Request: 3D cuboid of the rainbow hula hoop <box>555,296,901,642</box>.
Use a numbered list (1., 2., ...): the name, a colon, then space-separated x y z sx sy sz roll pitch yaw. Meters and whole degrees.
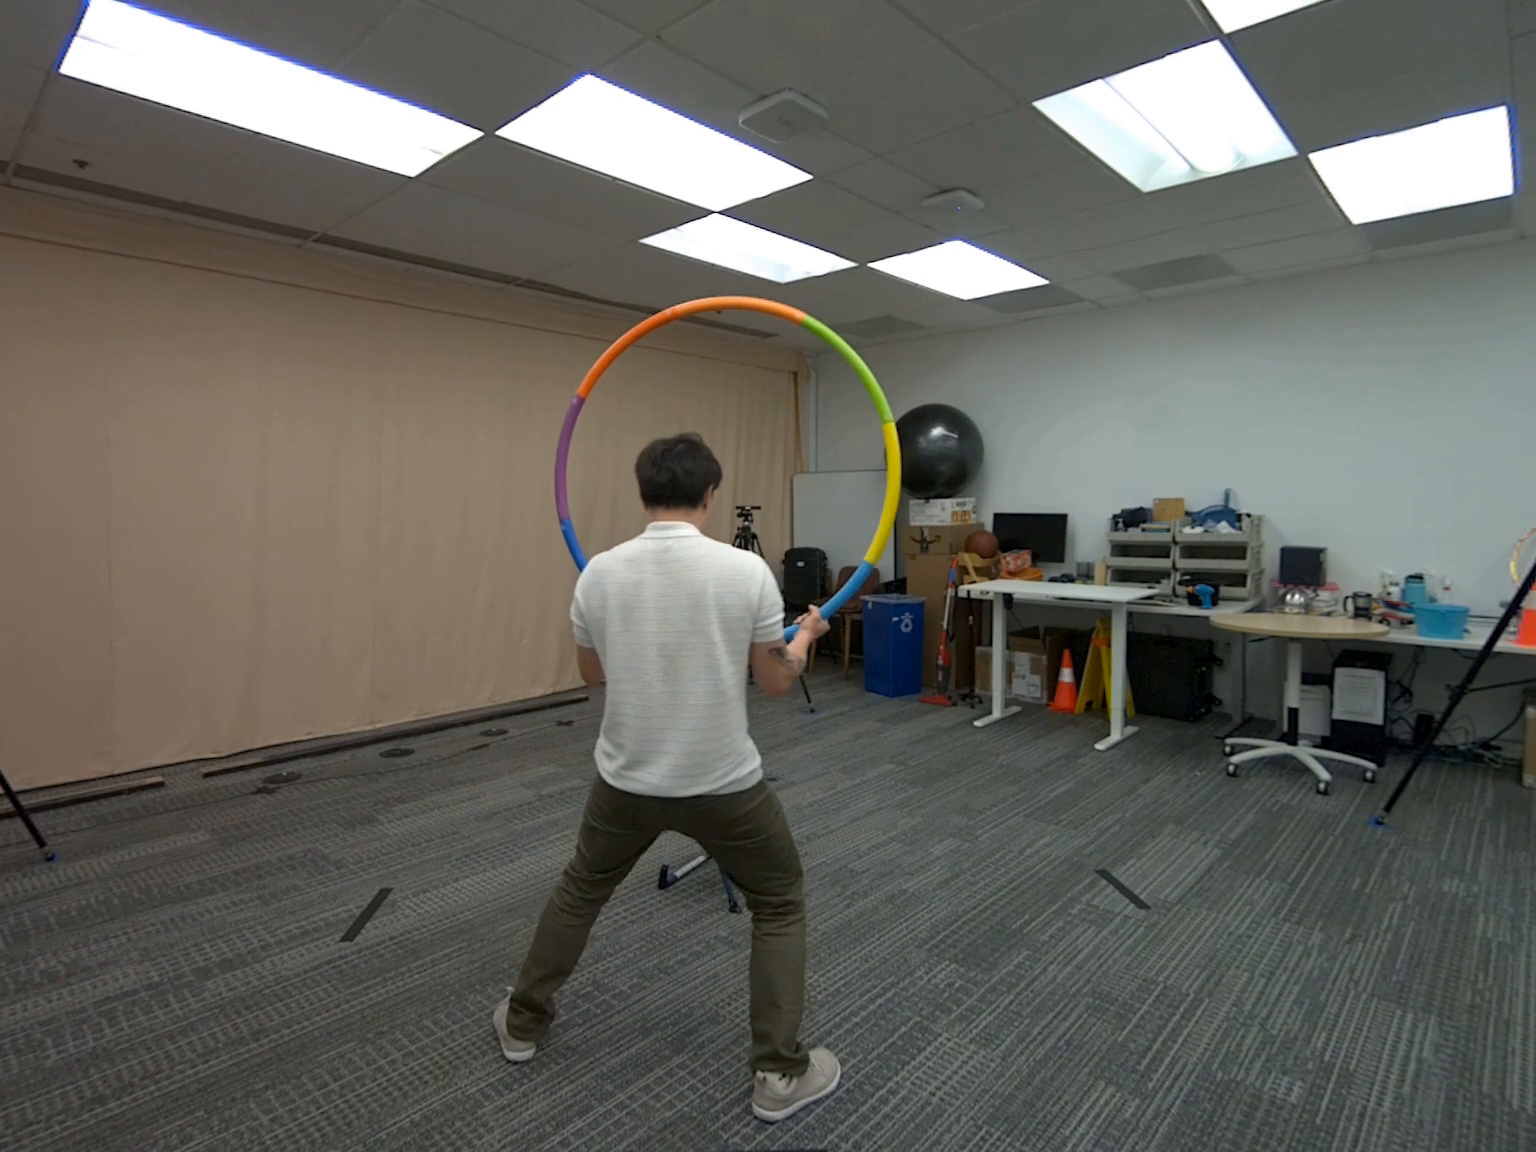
1. rainbow hula hoop: -0.138 -0.295 2.325 0.994 0.979 0.035 1 -1 15
